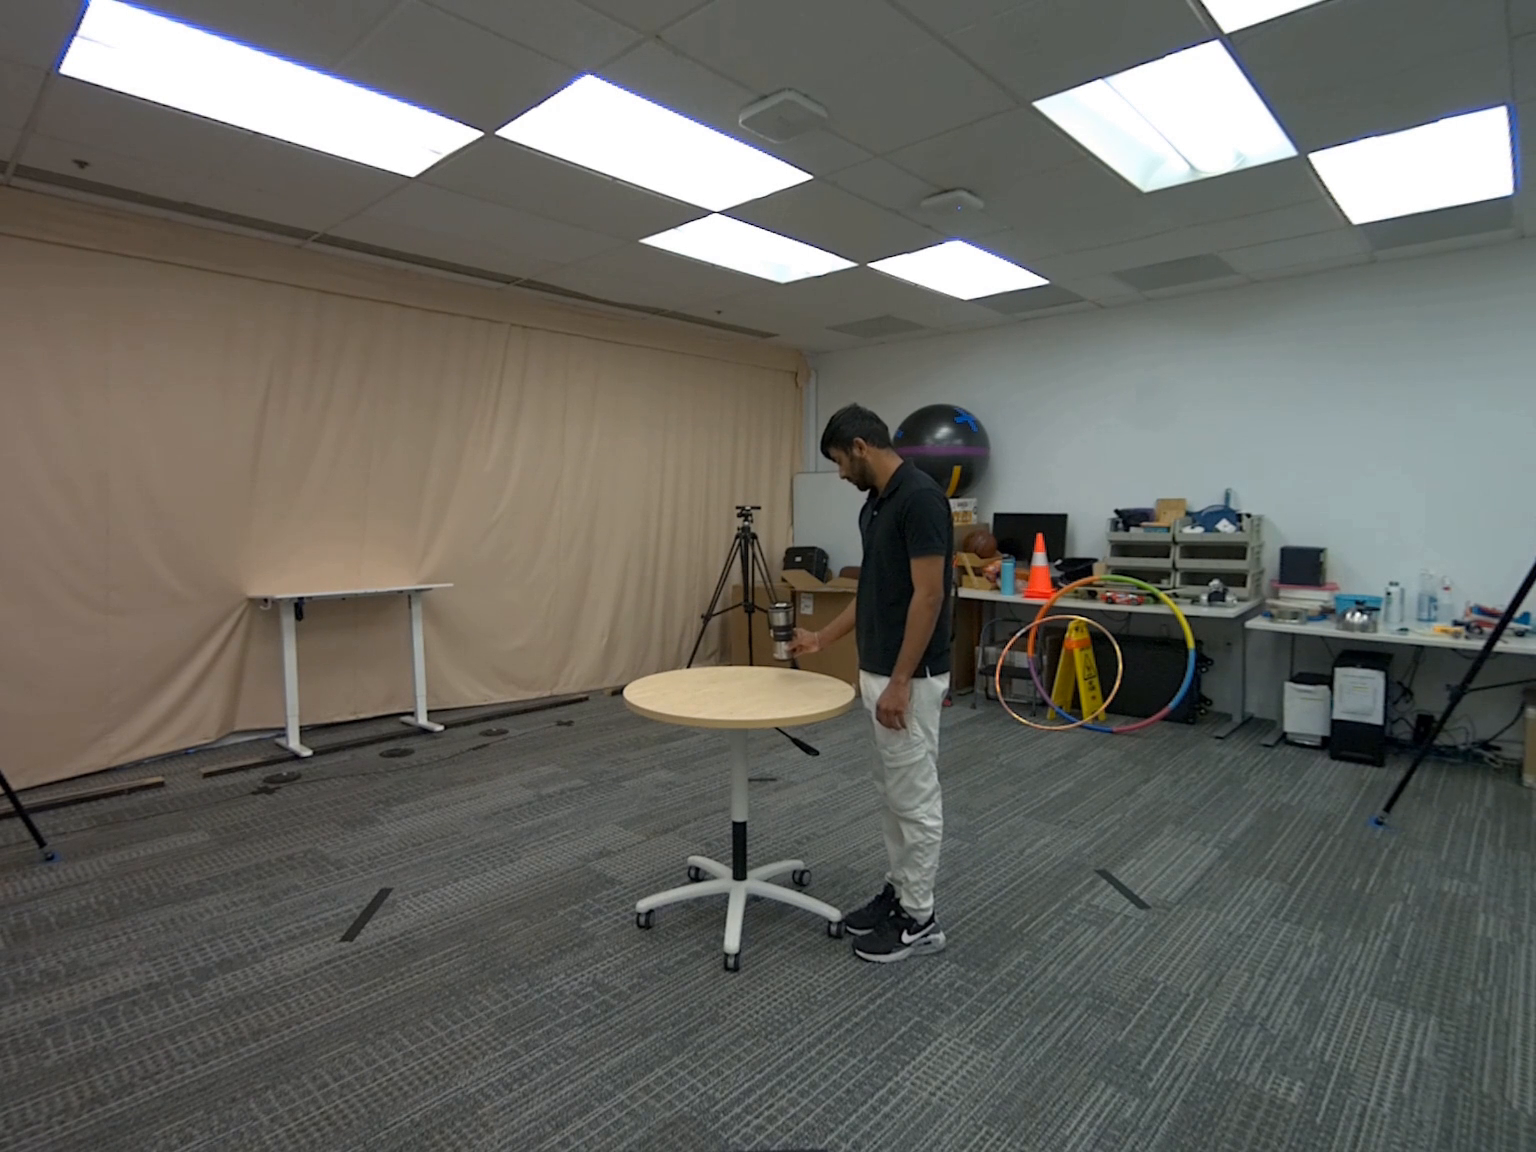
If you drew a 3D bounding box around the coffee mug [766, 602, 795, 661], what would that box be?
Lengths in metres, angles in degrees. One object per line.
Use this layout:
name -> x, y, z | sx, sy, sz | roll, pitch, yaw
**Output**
coffee mug -> 0.054, 0.197, 3.011 | 0.087, 0.201, 0.124 | -7, 10, -12
